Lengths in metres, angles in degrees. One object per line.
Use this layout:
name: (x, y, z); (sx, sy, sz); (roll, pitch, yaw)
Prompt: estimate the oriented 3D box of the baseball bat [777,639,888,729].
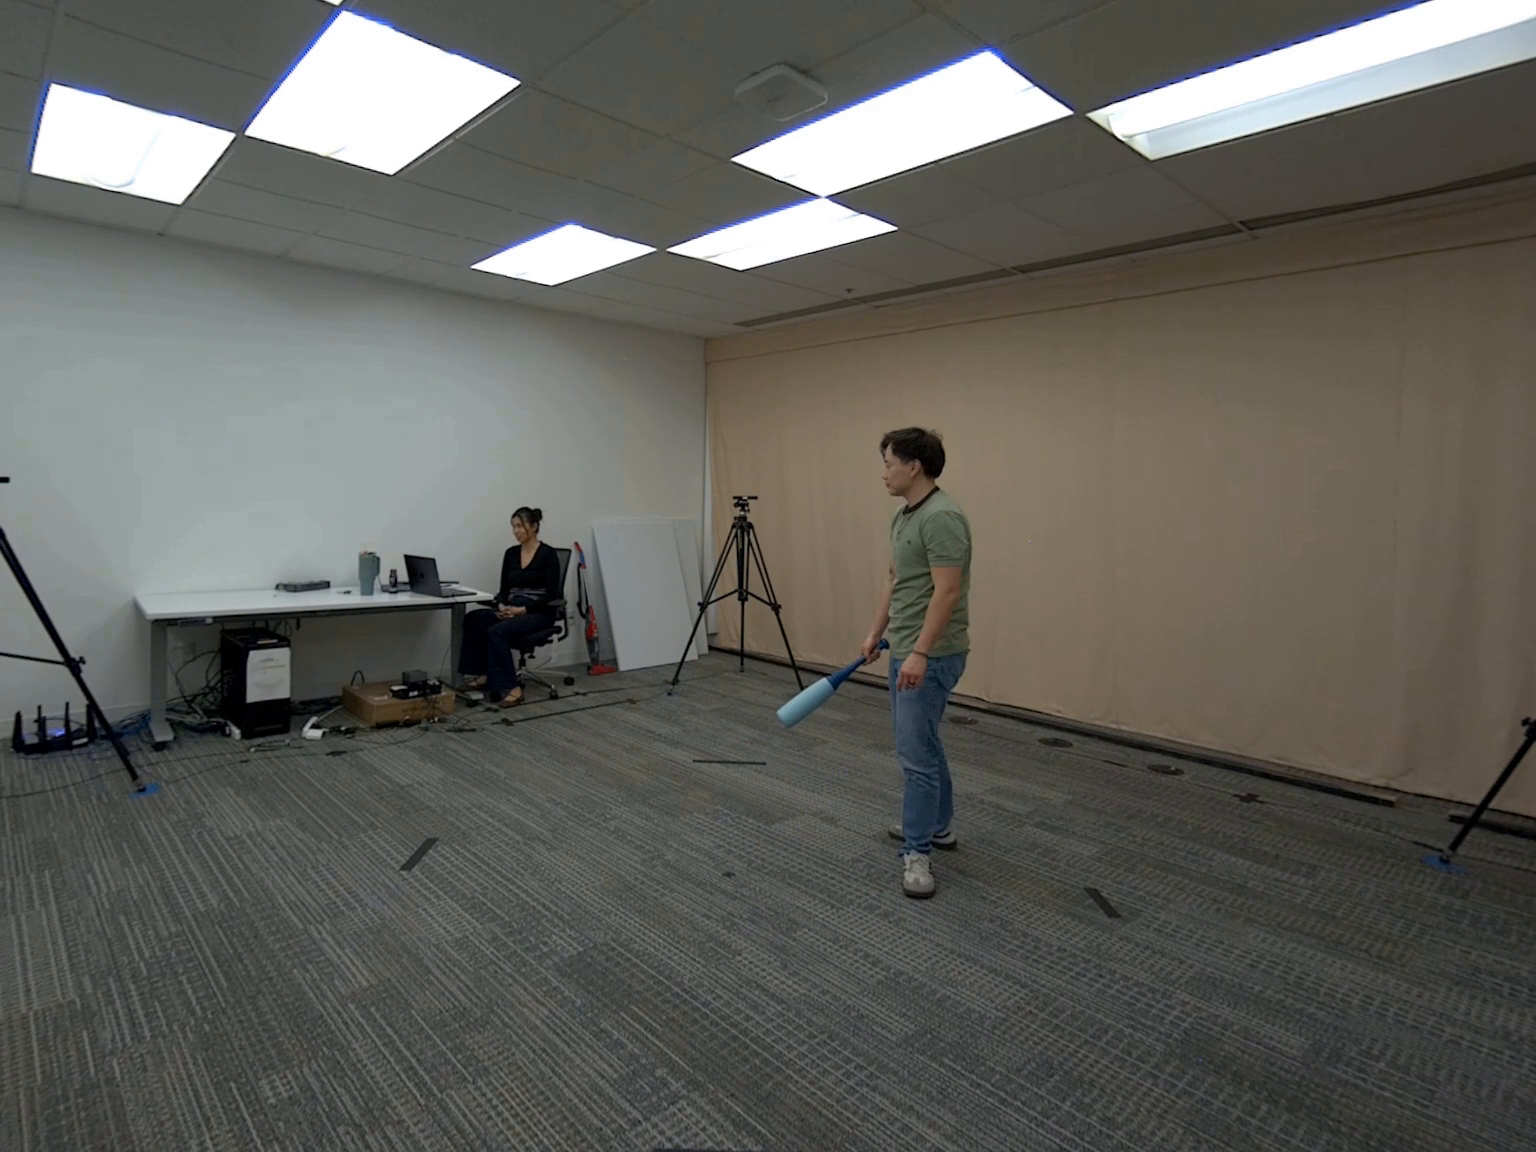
baseball bat: (0.268, 0.428, 3.394); (0.543, 0.088, 0.089); (-35, 6, -1)
